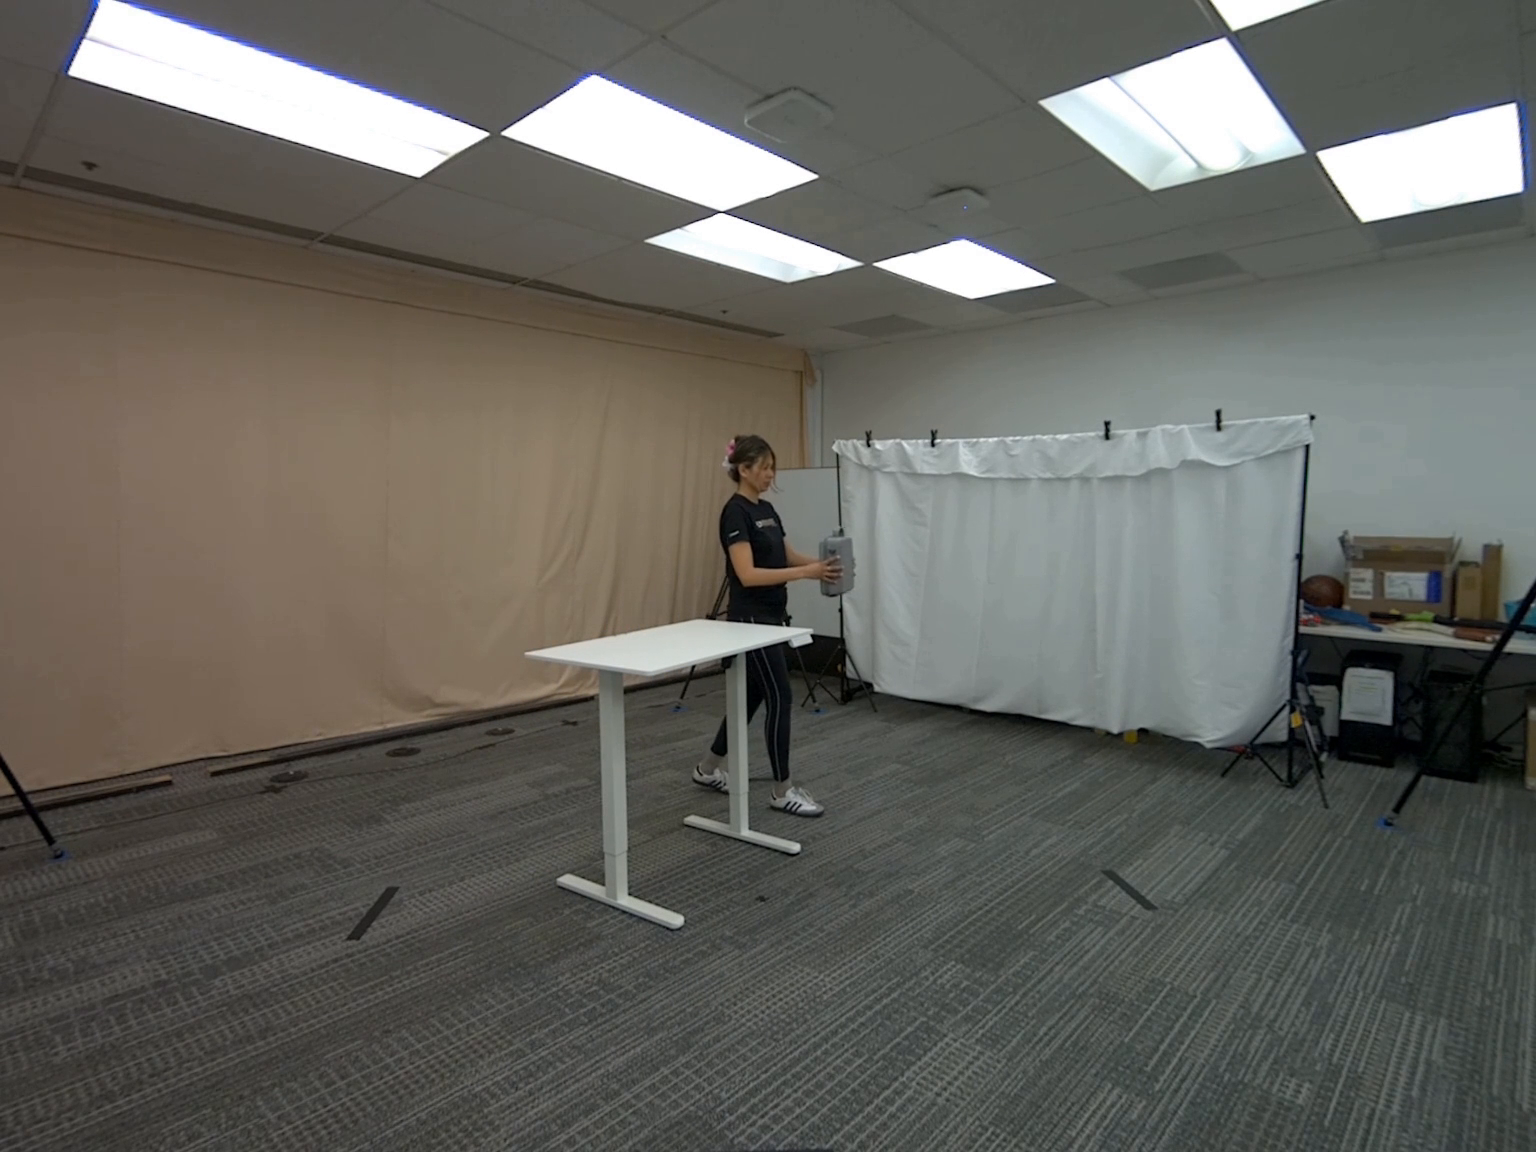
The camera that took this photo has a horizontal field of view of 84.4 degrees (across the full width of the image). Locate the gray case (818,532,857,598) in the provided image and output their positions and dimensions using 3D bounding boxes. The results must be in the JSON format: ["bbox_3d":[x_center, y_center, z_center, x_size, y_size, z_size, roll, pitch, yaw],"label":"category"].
[{"bbox_3d":[0.307,-0.056,3.742,0.106,0.260,0.253,0,6,18],"label":"gray case"}]
